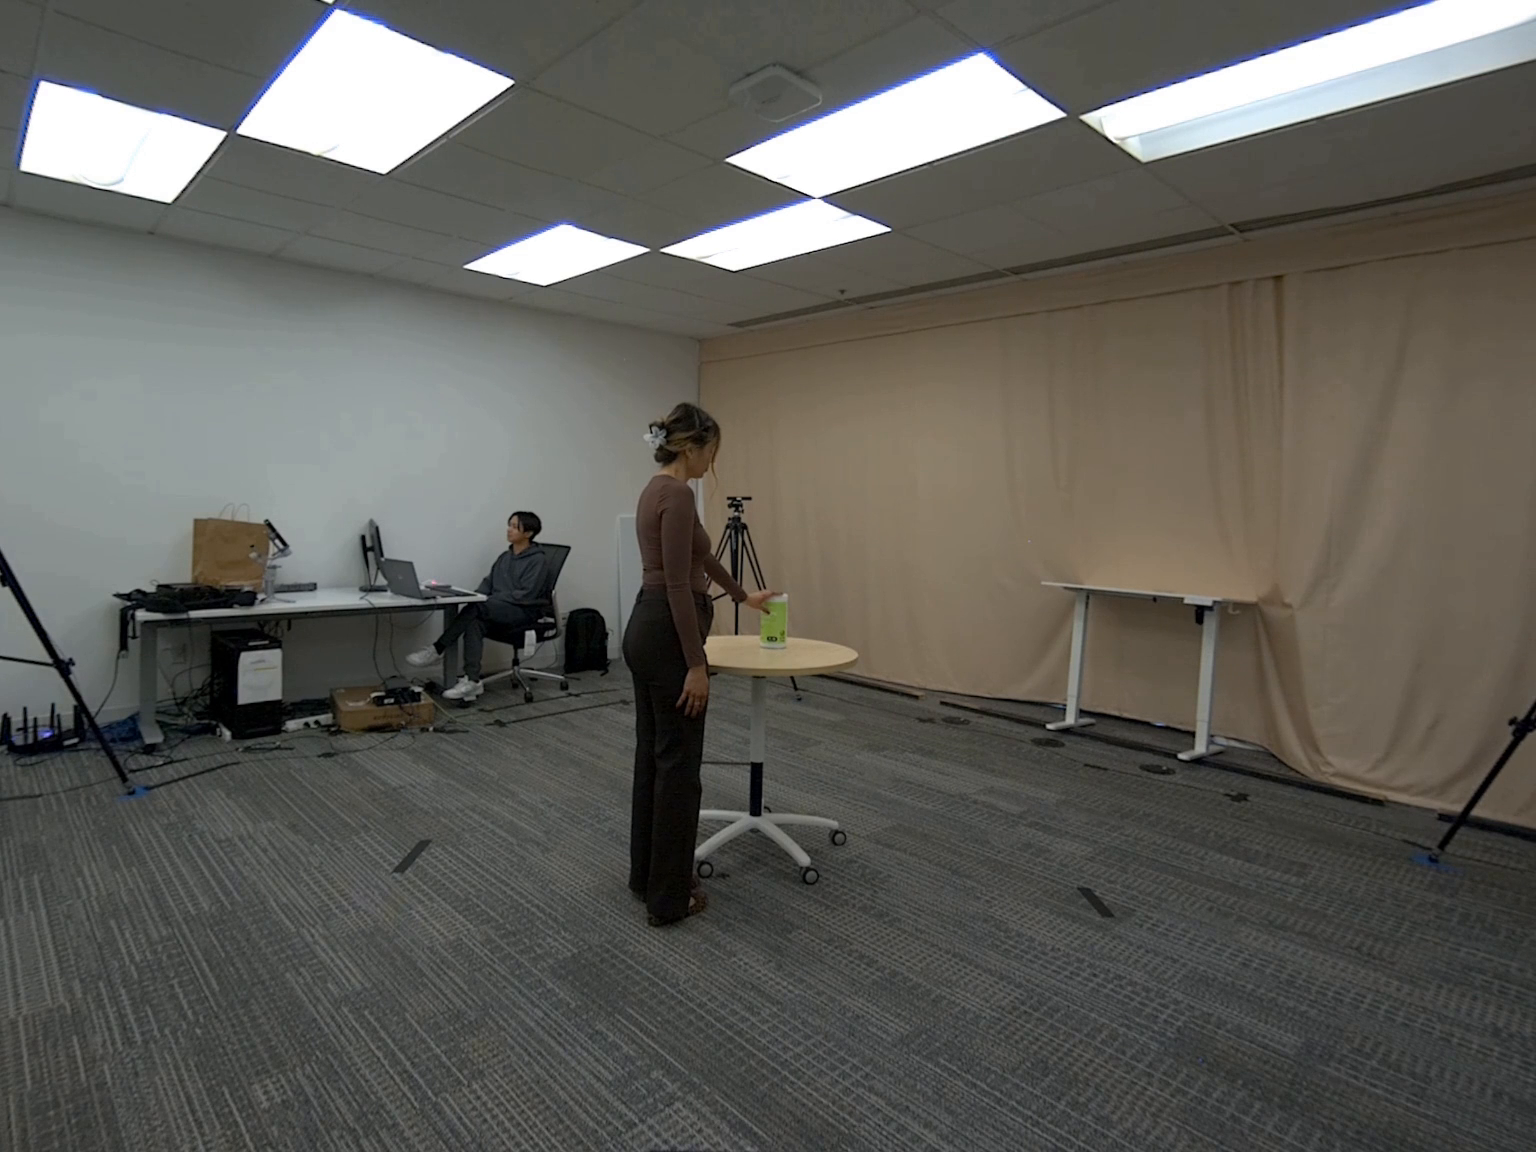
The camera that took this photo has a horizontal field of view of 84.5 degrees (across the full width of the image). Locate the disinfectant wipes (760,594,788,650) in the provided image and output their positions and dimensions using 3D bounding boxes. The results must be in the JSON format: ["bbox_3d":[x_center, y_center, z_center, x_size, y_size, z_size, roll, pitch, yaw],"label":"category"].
[{"bbox_3d":[0.014,0.181,3.406,0.118,0.217,0.118,1,5,-1],"label":"disinfectant wipes"}]
